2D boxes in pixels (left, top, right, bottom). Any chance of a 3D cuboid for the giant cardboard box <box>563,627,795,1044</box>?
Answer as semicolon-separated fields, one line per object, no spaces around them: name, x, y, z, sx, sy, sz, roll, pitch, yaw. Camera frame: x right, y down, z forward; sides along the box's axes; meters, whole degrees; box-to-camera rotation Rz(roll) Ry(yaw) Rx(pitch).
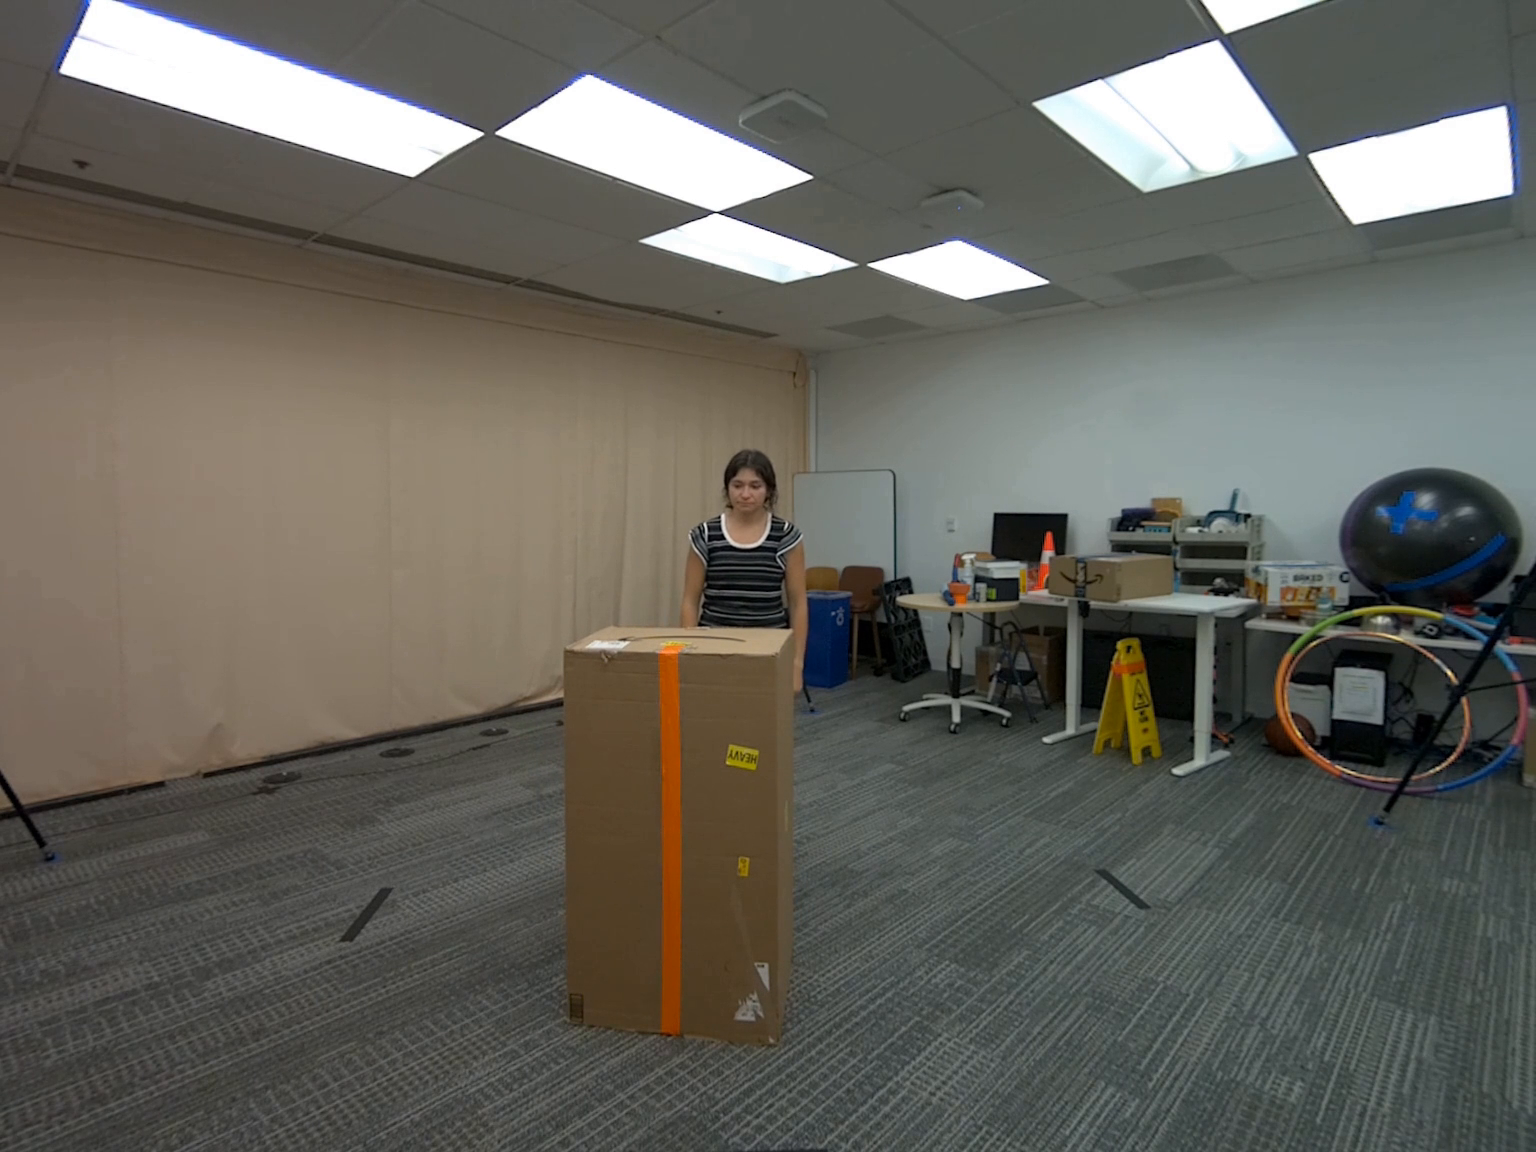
giant cardboard box;-0.233;0.687;2.393;0.584;1.023;0.423;1;4;9
